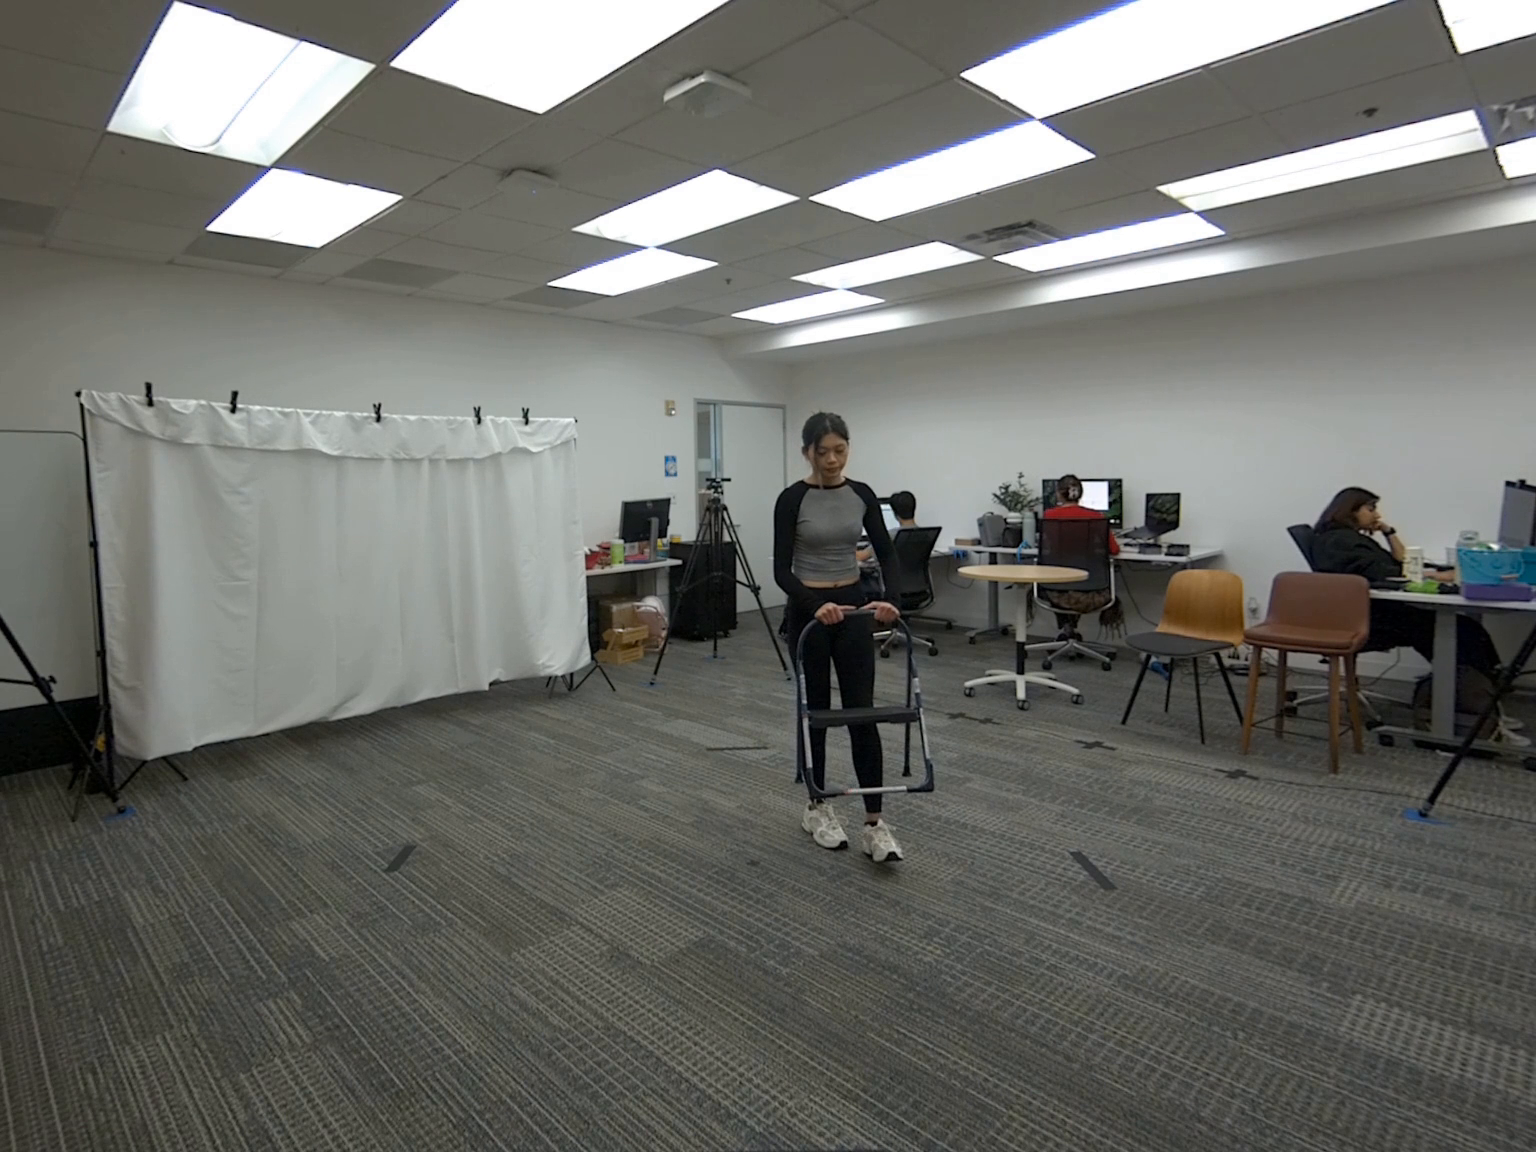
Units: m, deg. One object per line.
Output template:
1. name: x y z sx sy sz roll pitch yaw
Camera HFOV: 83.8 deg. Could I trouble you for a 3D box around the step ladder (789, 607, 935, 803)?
1. step ladder: 0.311 0.435 2.985 0.429 0.610 0.349 -3 -6 -5
